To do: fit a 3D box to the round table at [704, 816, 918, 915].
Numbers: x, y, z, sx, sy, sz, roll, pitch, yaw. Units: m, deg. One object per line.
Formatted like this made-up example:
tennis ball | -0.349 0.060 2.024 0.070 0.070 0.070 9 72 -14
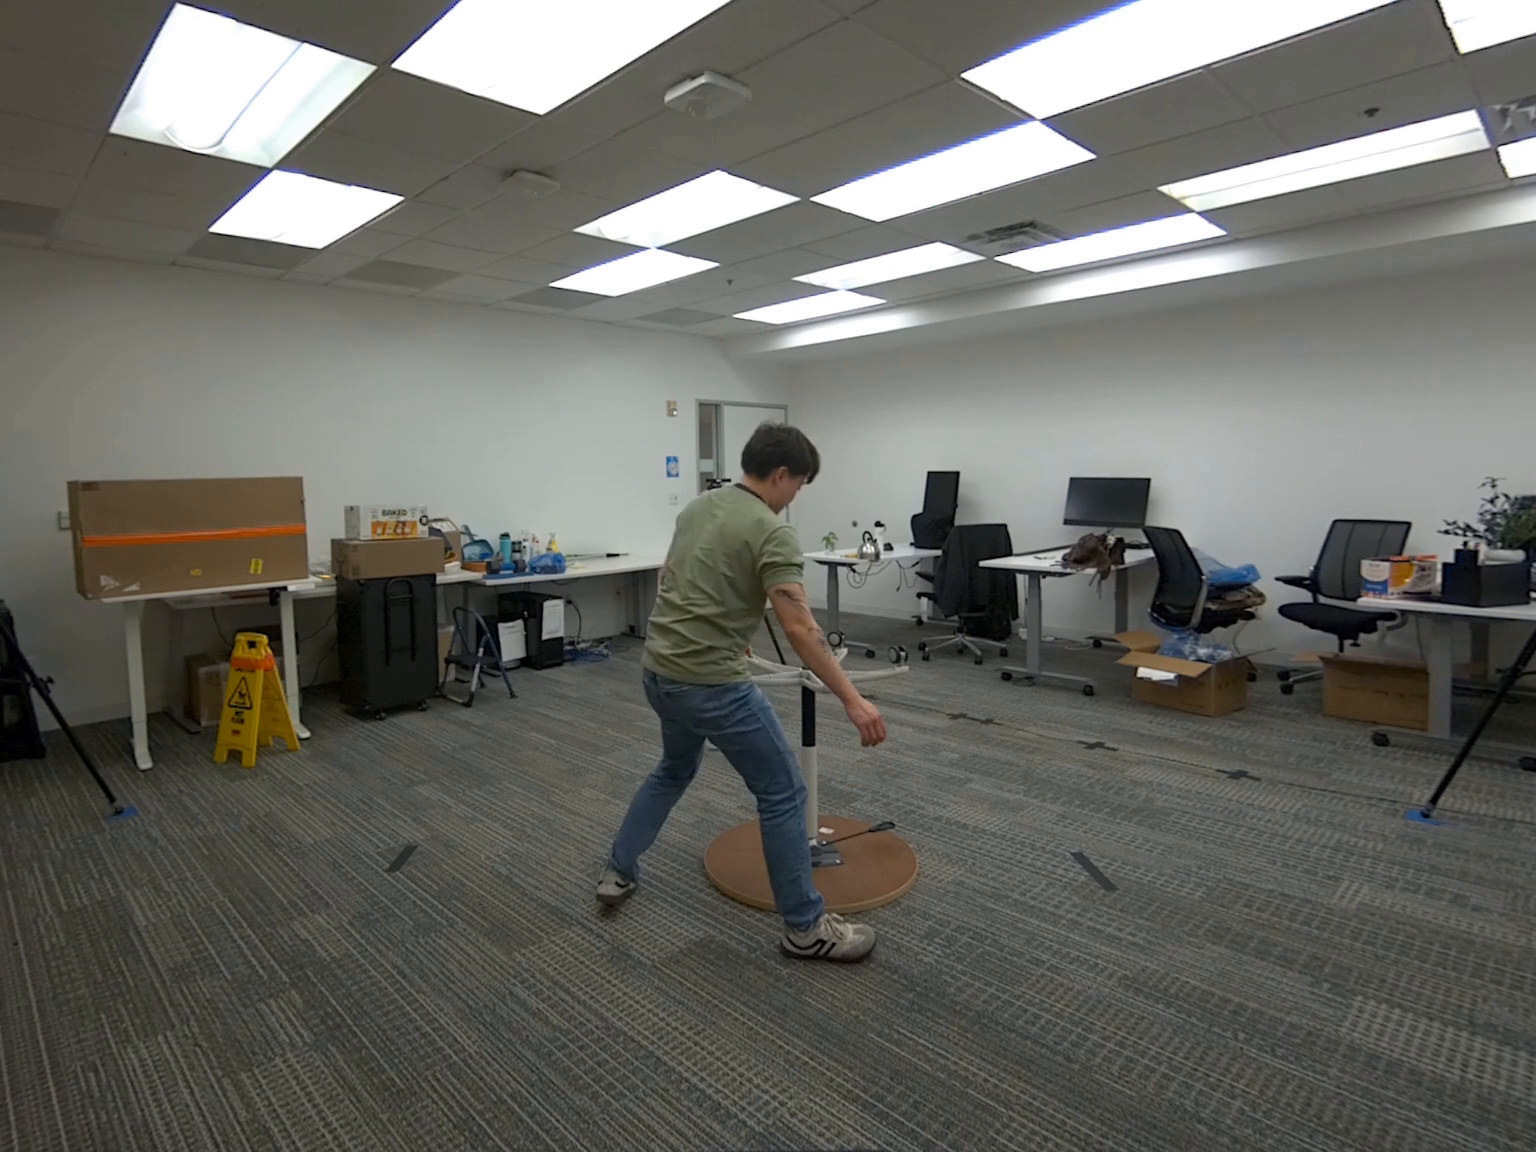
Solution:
round table | 0.153 0.648 3.082 0.763 0.791 0.768 -1 5 -2
